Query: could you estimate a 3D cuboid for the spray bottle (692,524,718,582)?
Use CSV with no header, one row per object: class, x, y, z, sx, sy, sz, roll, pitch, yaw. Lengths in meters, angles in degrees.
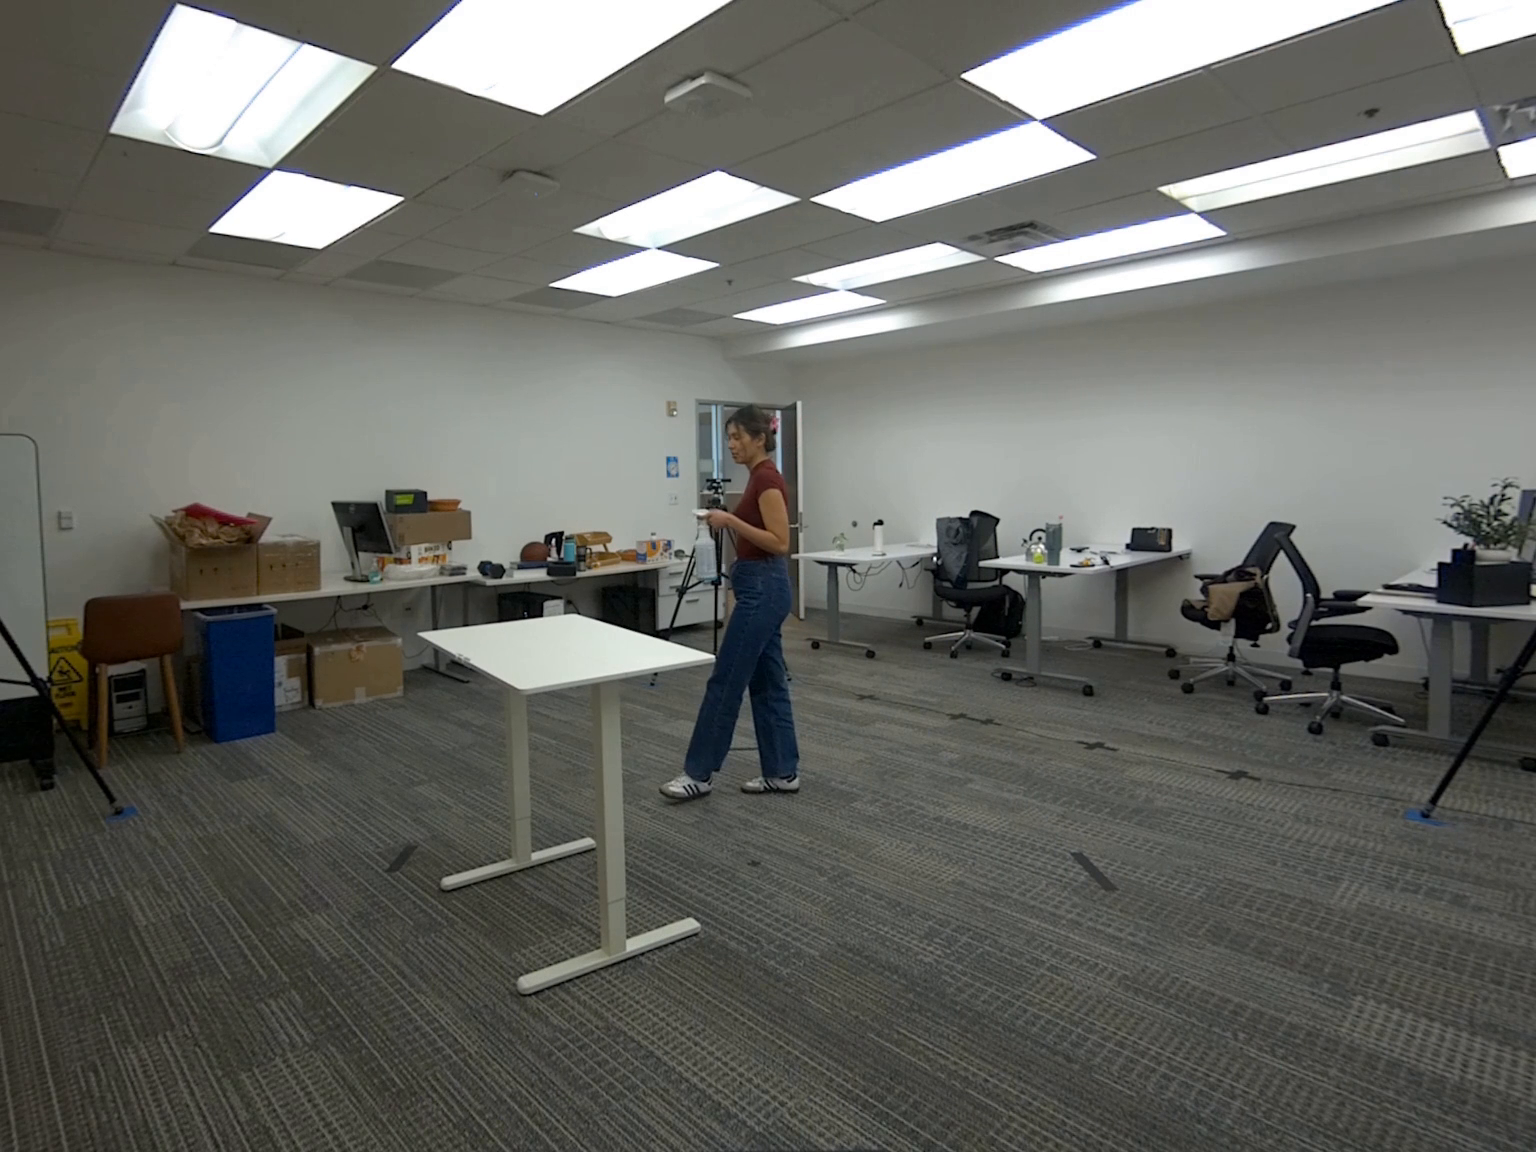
spray bottle,-0.263,-0.125,3.562,0.090,0.296,0.087,-1,4,-3
